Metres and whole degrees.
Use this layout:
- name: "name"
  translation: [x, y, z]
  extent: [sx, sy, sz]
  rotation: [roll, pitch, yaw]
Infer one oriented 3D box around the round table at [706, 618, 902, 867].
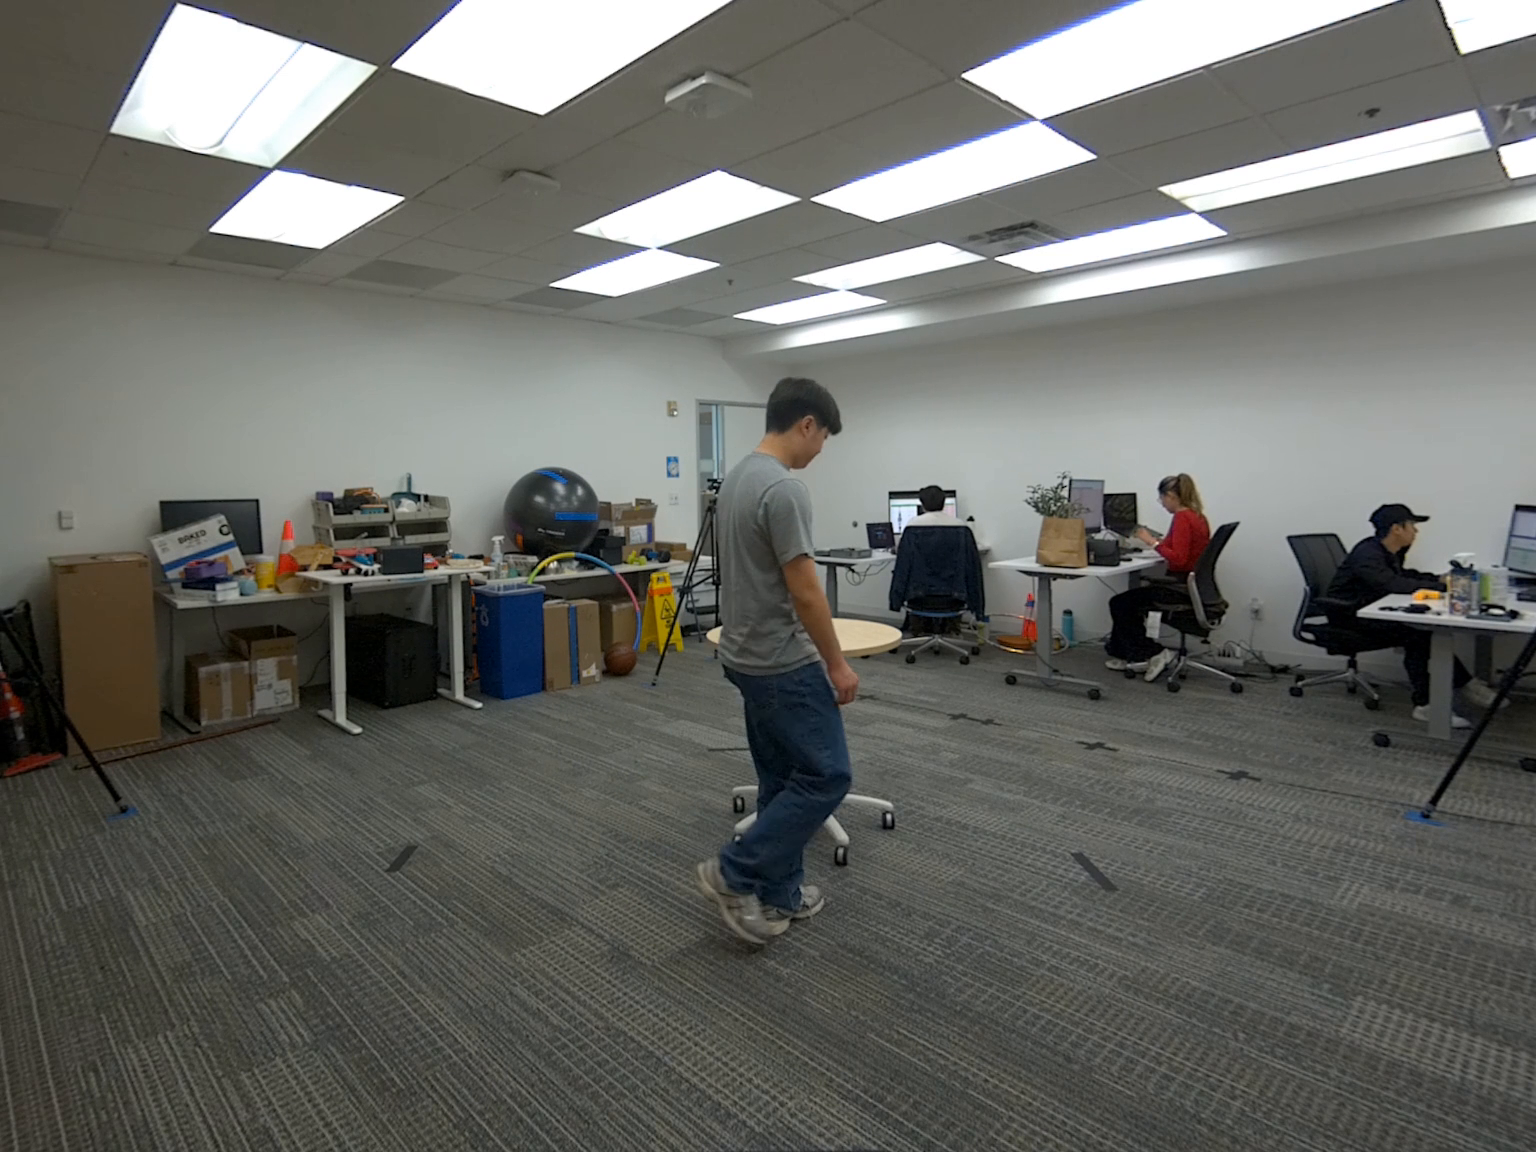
- name: "round table"
  translation: [0.150, 0.620, 3.404]
  extent: [0.763, 0.791, 0.768]
  rotation: [-1, 5, -2]
